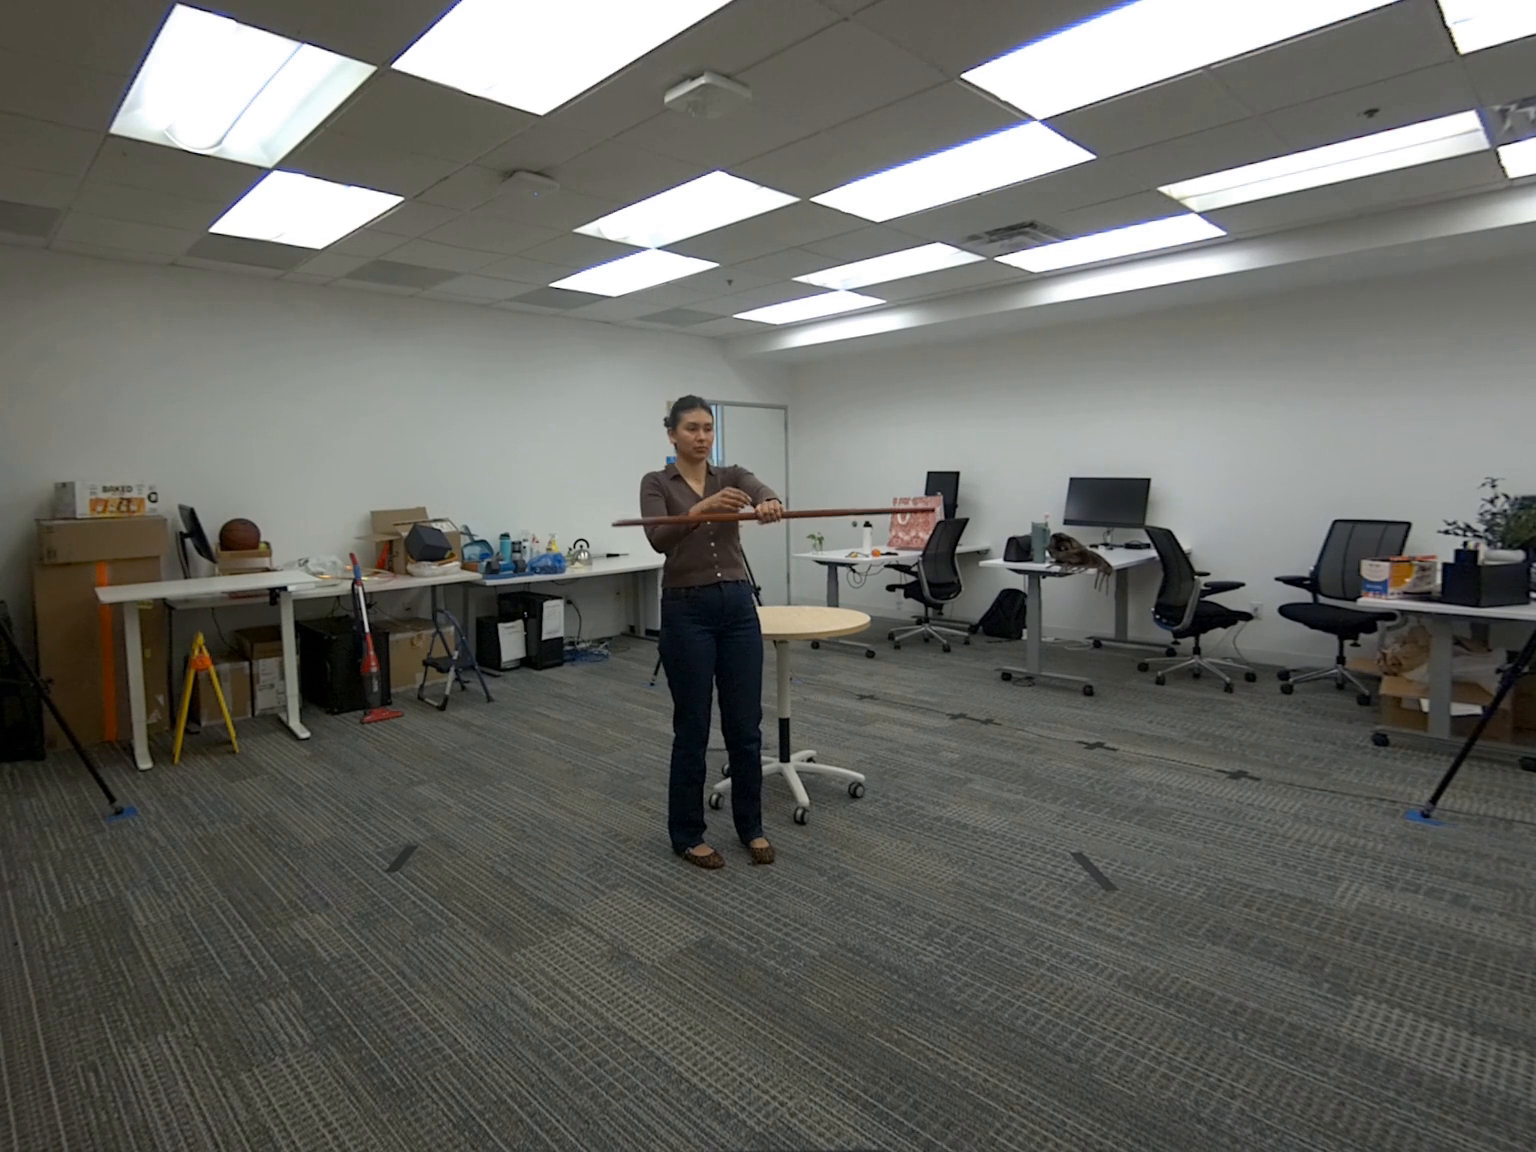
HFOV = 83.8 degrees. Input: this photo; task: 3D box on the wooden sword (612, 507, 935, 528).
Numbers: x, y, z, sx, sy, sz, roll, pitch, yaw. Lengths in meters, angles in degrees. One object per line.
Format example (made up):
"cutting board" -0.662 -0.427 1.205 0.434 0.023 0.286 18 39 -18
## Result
"wooden sword" 0.025 -0.178 2.653 1.013 0.050 0.025 -3 27 -13
